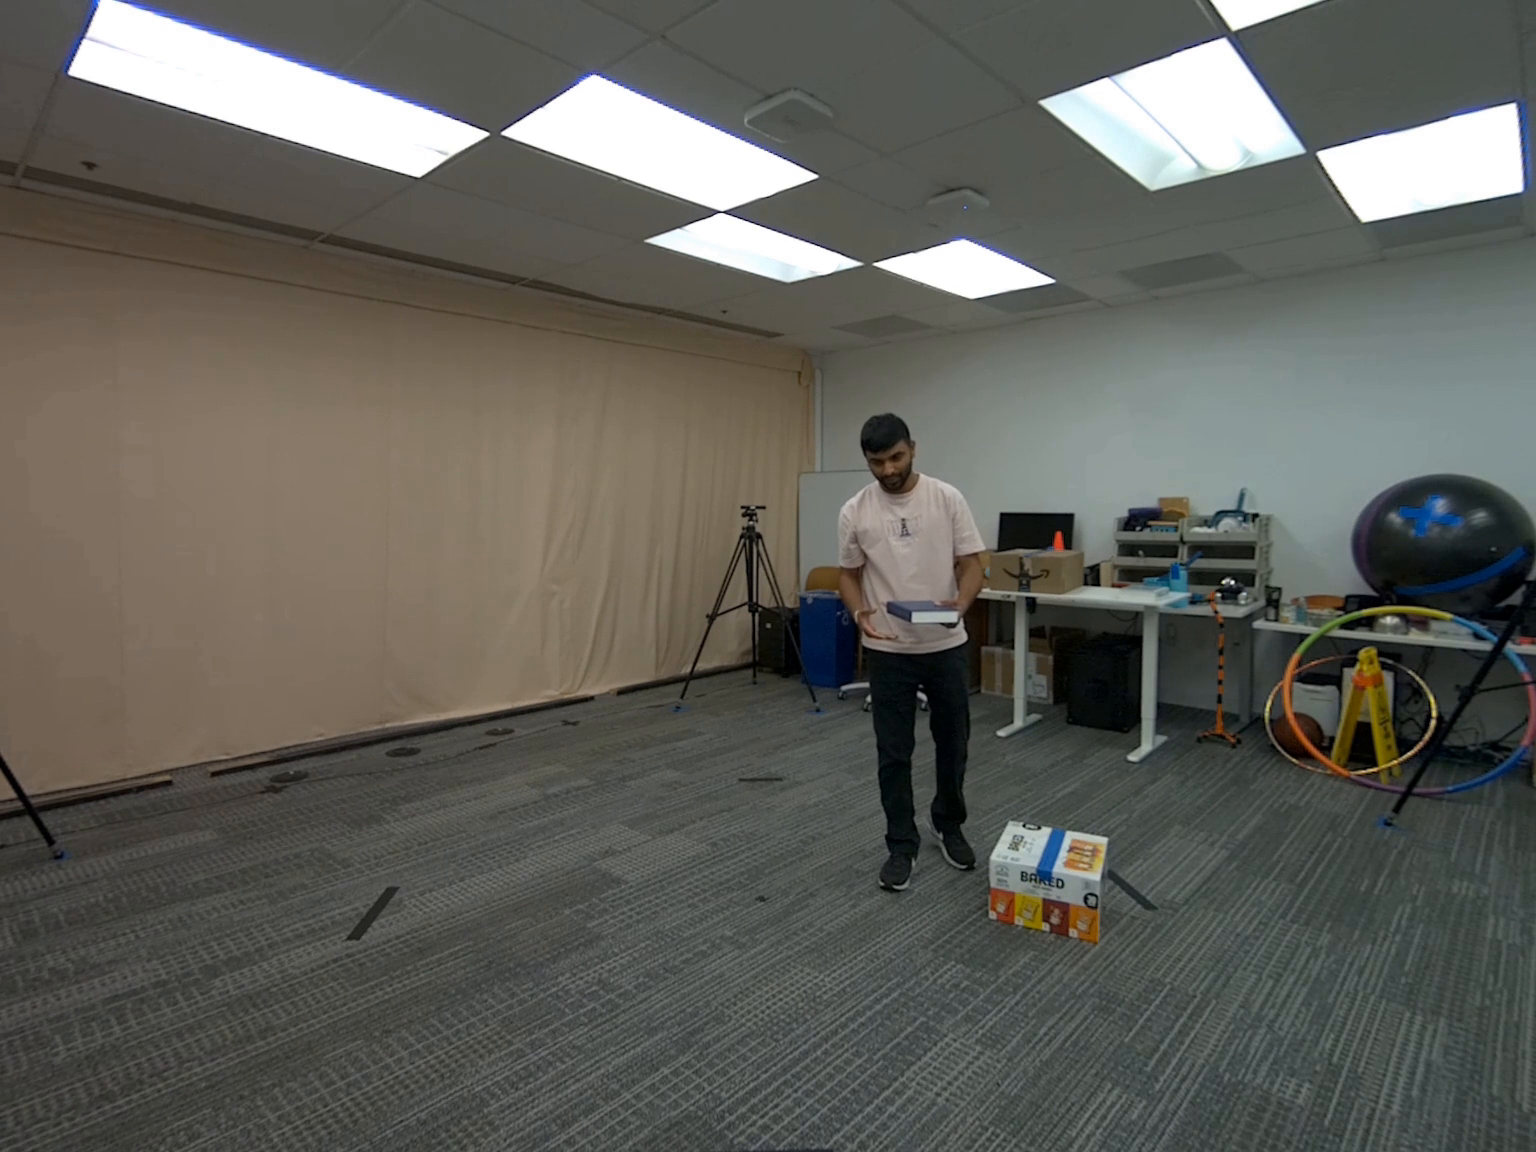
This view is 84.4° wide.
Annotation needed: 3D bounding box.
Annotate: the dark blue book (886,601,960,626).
[{"bbox_3d":[0.511,0.121,2.815,0.162,0.045,0.248,1,5,-8],"label":"dark blue book"}]
